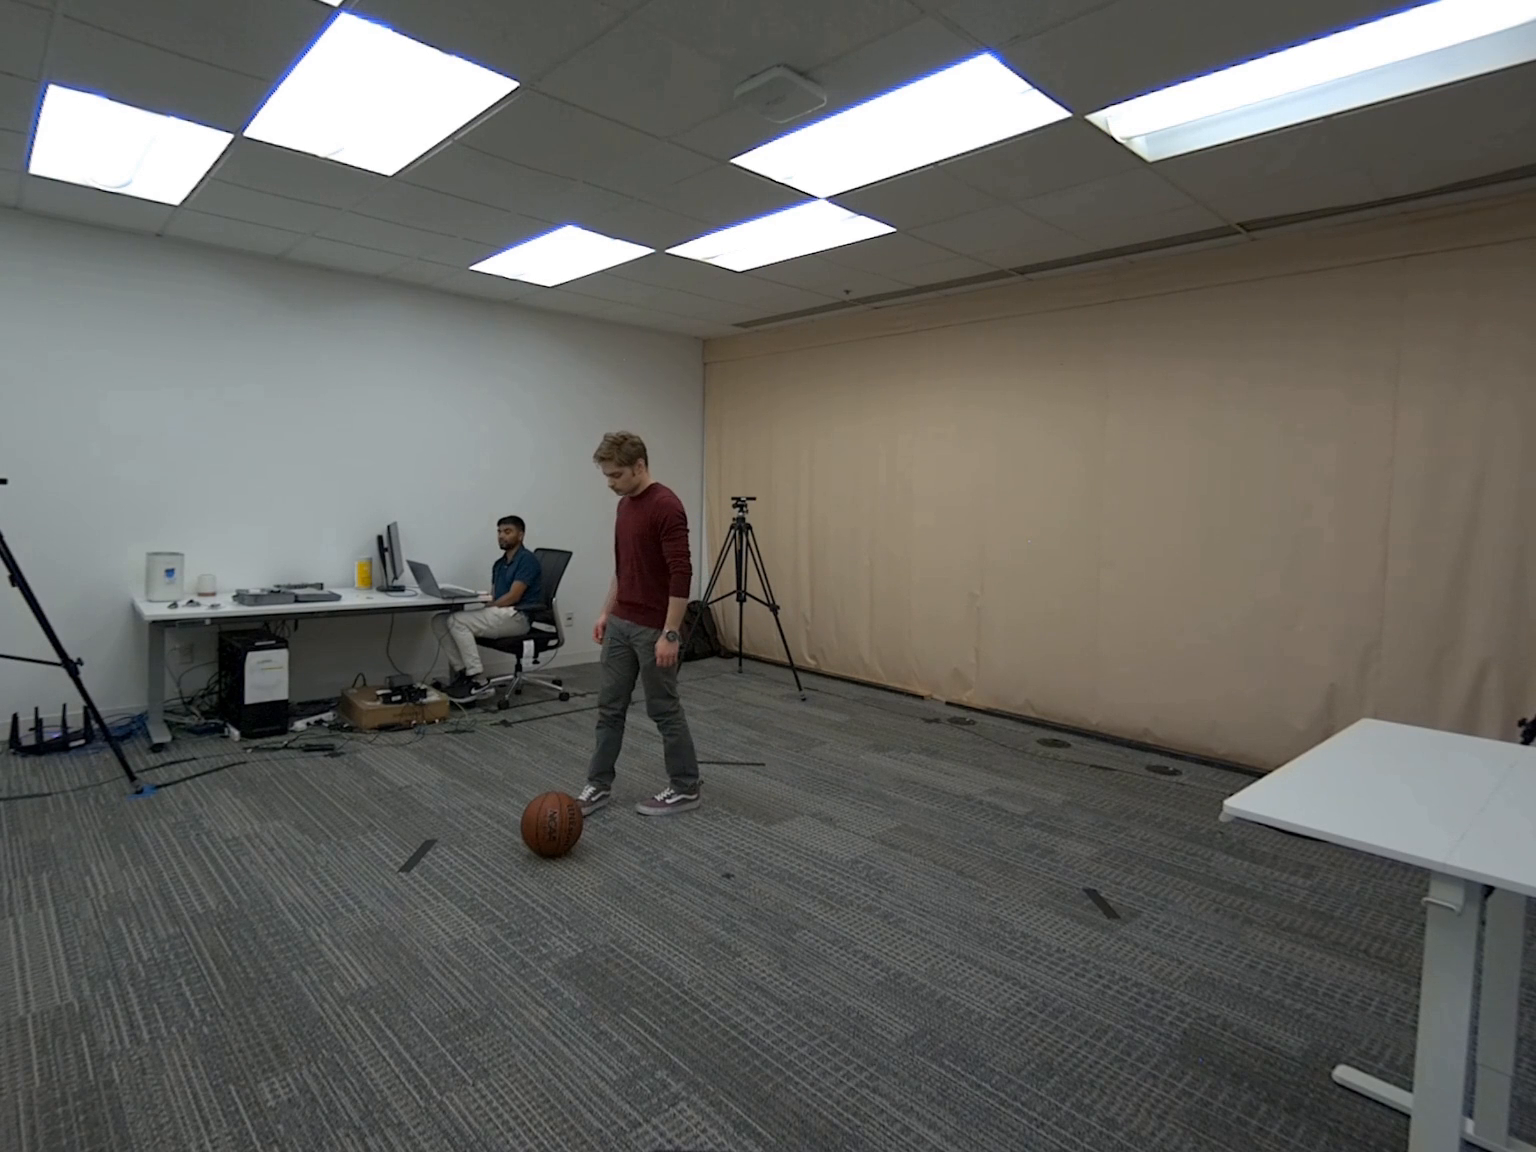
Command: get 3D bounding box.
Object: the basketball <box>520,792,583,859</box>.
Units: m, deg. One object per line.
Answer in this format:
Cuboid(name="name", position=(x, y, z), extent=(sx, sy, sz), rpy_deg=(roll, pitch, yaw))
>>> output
Cuboid(name="basketball", position=(-0.845, 0.958, 3.251), extent=(0.236, 0.235, 0.237), rpy_deg=(1, 4, -1))
